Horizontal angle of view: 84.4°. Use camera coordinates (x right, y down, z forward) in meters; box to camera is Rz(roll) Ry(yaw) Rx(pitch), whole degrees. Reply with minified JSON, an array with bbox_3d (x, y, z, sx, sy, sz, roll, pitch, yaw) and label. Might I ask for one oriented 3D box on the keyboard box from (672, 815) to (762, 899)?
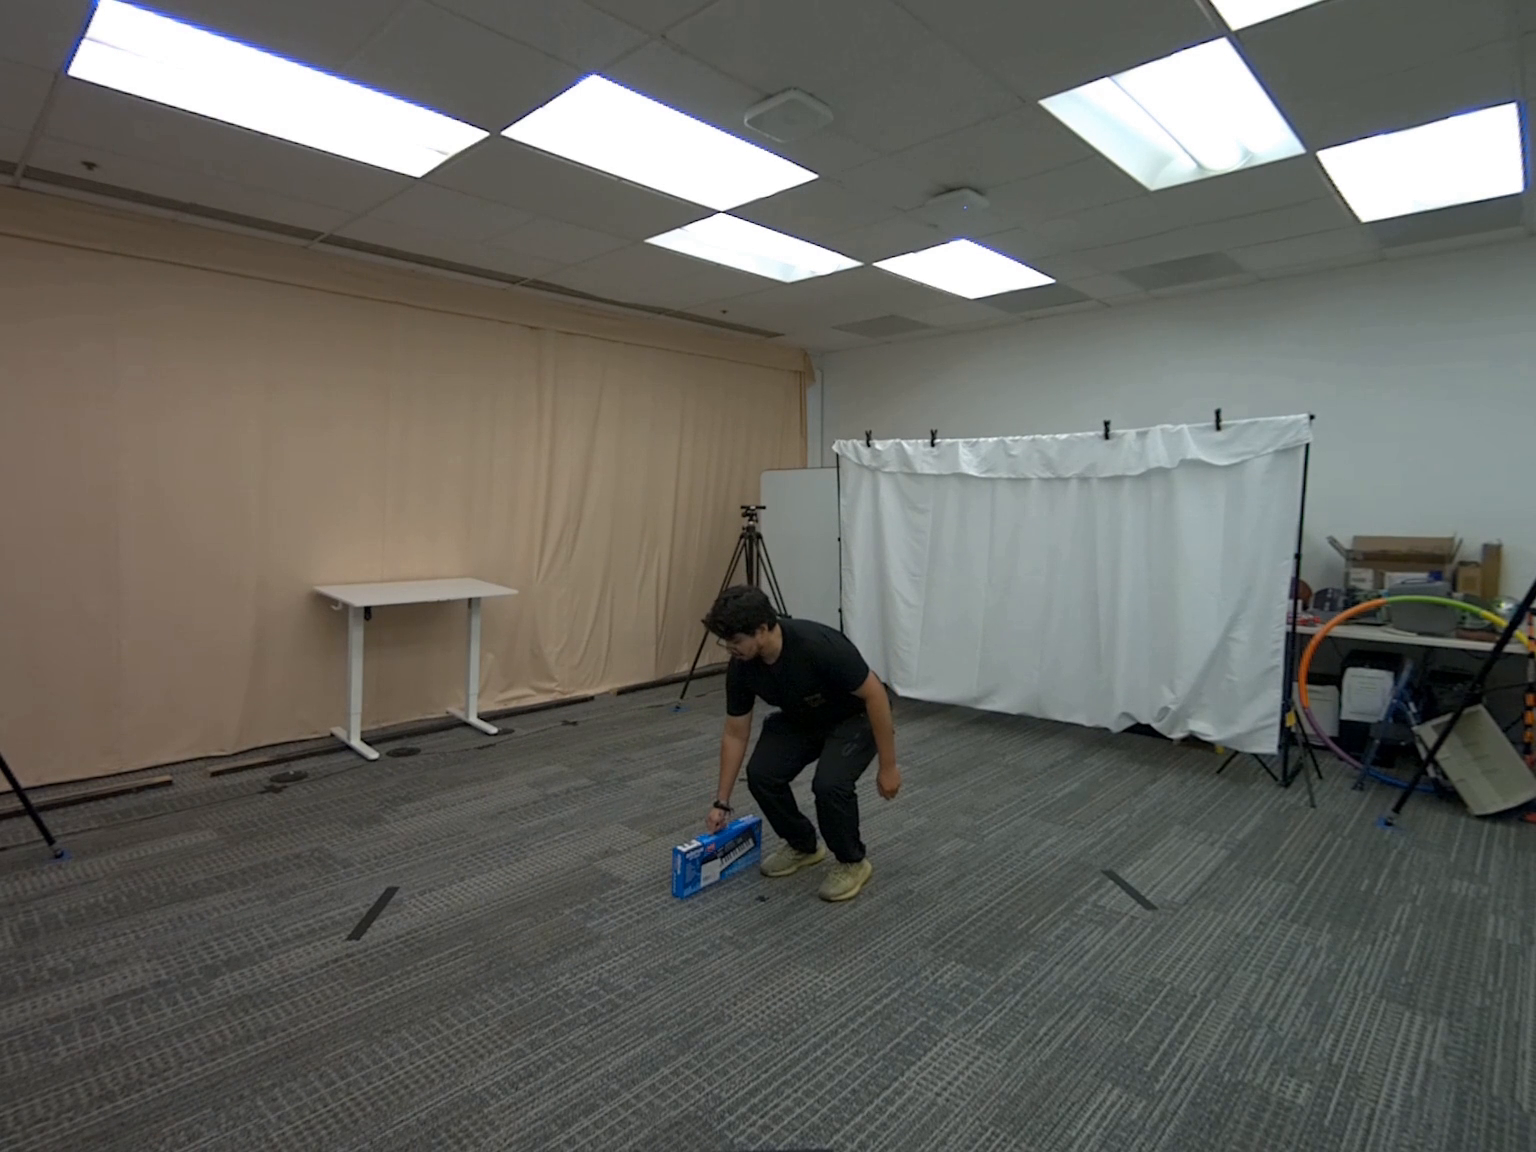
[{"bbox_3d":[-0.184,1.047,3.154,0.061,0.175,0.424,6,8,40],"label":"keyboard box"}]
